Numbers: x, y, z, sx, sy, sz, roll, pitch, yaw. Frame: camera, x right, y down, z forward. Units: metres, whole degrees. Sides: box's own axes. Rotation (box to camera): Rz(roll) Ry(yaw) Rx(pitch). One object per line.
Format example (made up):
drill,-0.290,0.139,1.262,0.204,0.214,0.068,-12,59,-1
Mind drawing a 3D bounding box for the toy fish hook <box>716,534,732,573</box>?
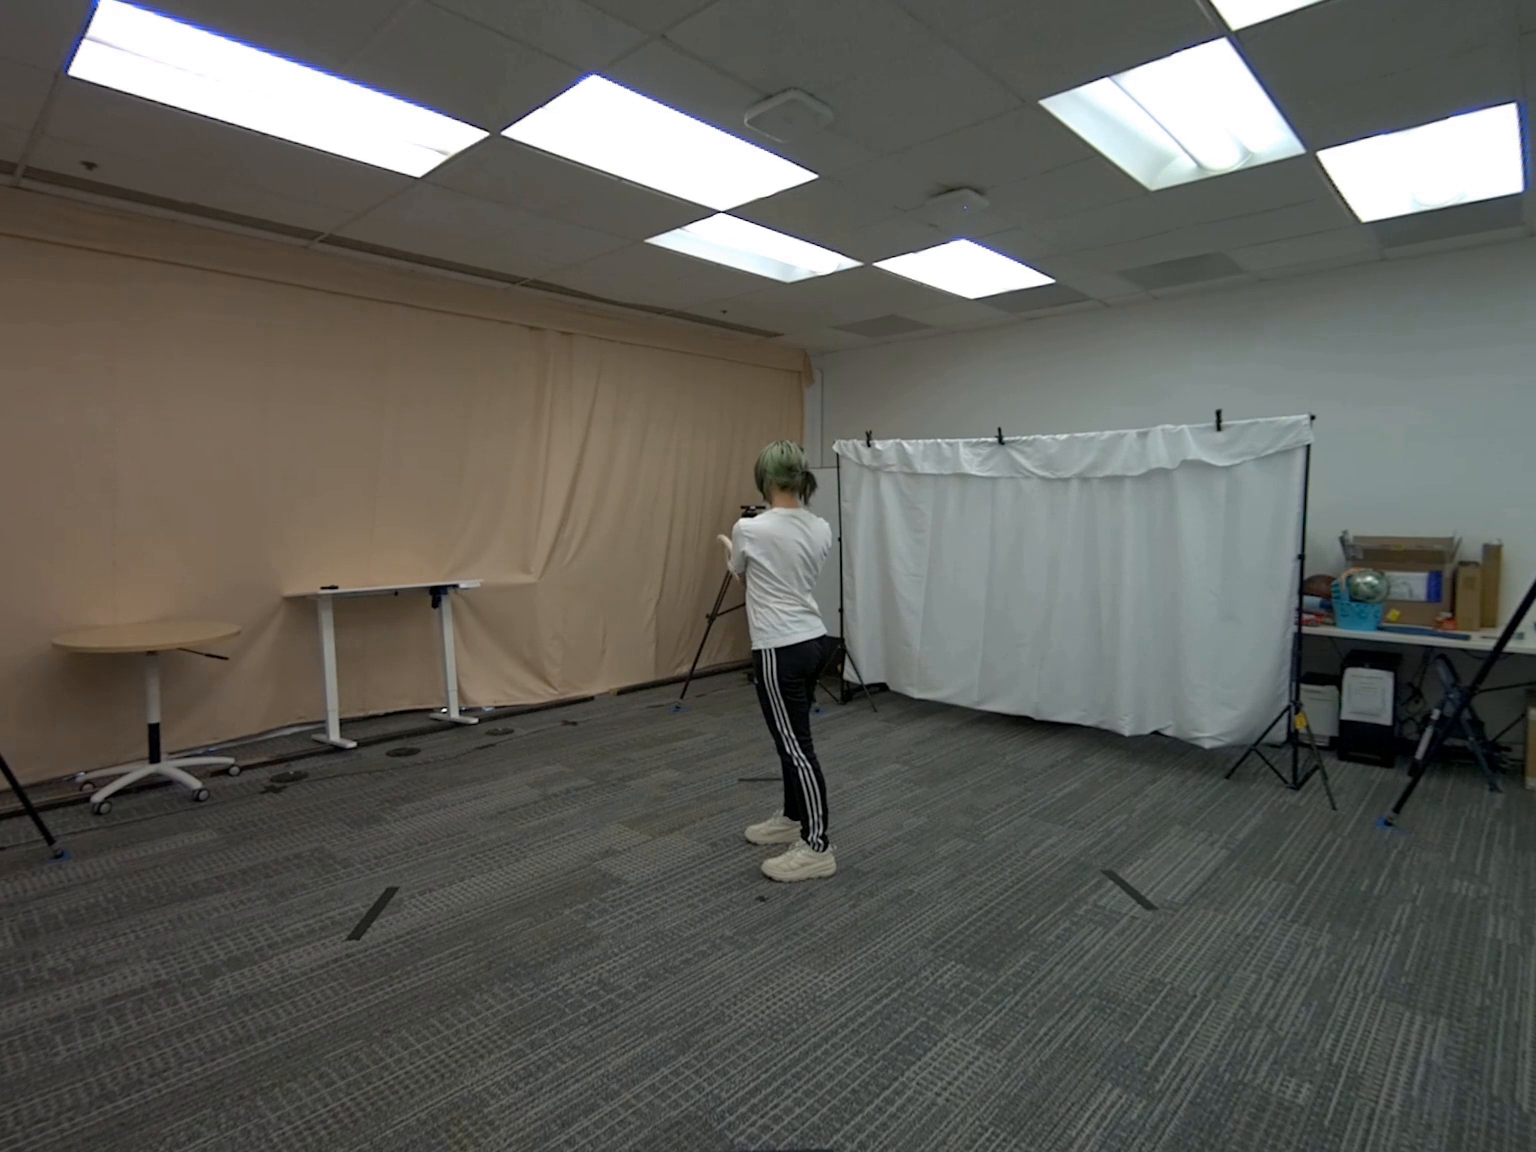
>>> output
toy fish hook,-0.113,-0.011,3.848,0.048,0.219,0.524,-26,43,-14
